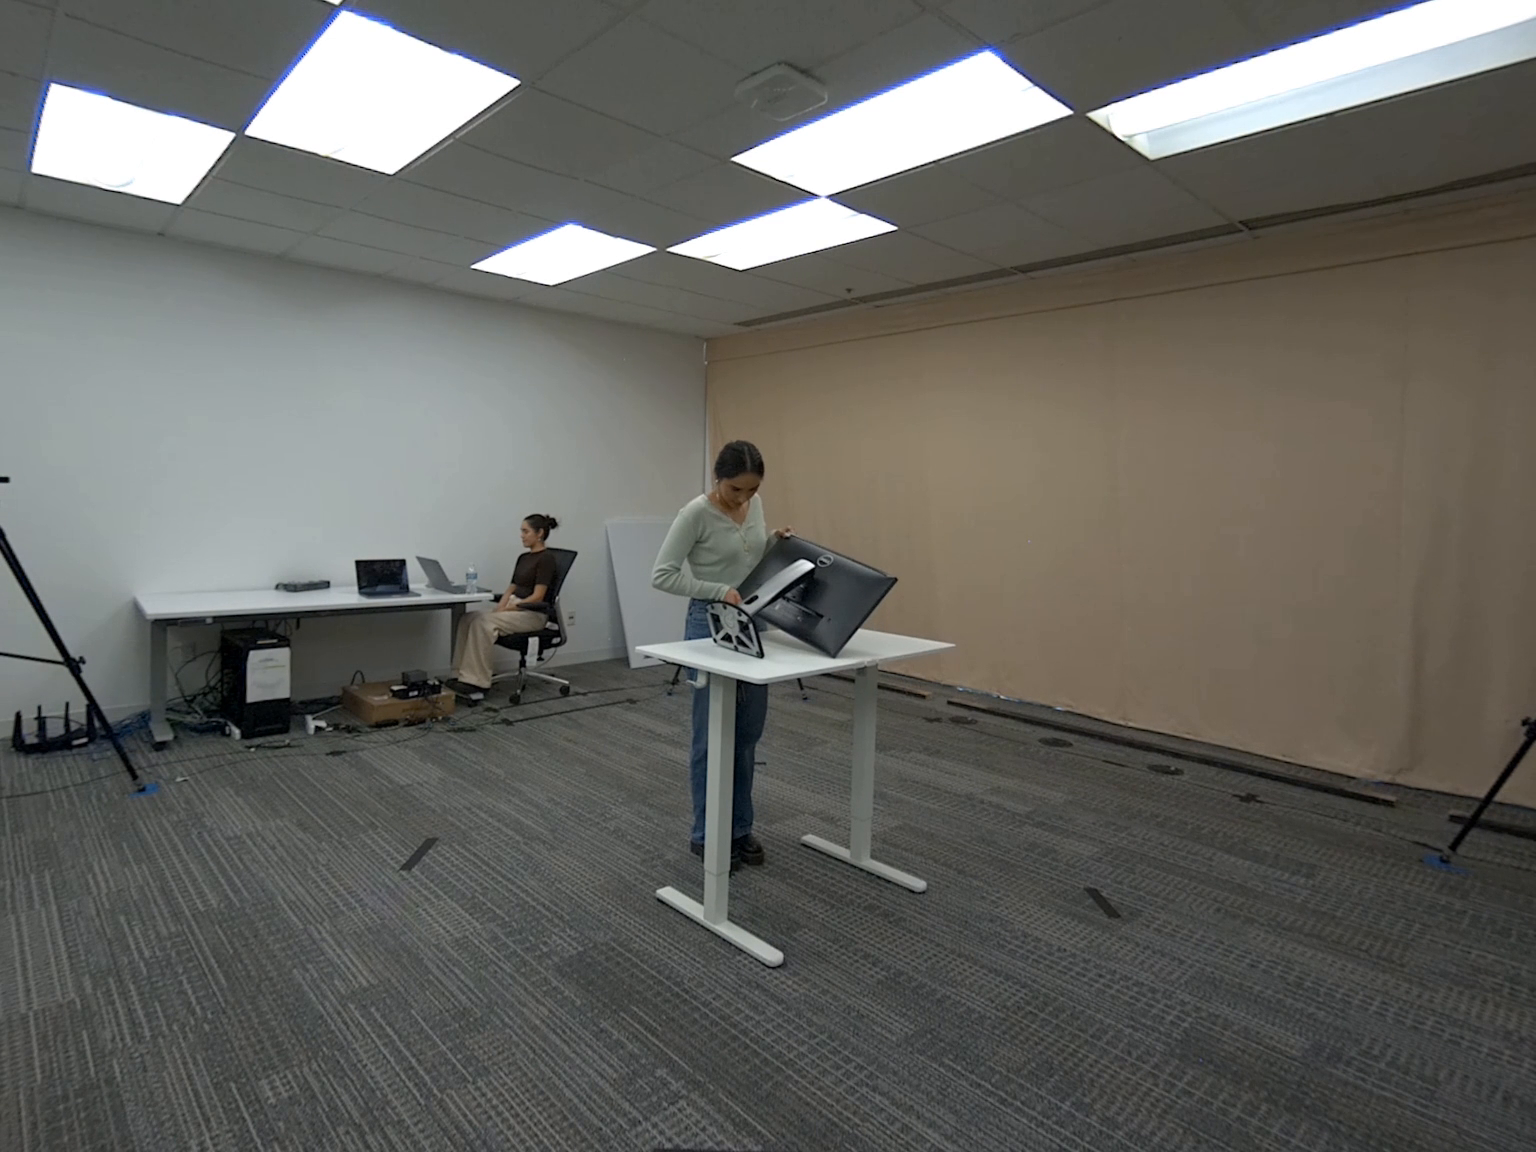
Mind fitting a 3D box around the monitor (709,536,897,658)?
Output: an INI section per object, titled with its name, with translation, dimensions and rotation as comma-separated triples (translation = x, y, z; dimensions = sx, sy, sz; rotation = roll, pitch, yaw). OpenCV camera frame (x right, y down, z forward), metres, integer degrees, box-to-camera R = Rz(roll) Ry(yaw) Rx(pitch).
[monitor]
translation = 0.064, 0.070, 2.854
dimensions = 0.555, 0.182, 0.519
rotation = 25, 48, 39
